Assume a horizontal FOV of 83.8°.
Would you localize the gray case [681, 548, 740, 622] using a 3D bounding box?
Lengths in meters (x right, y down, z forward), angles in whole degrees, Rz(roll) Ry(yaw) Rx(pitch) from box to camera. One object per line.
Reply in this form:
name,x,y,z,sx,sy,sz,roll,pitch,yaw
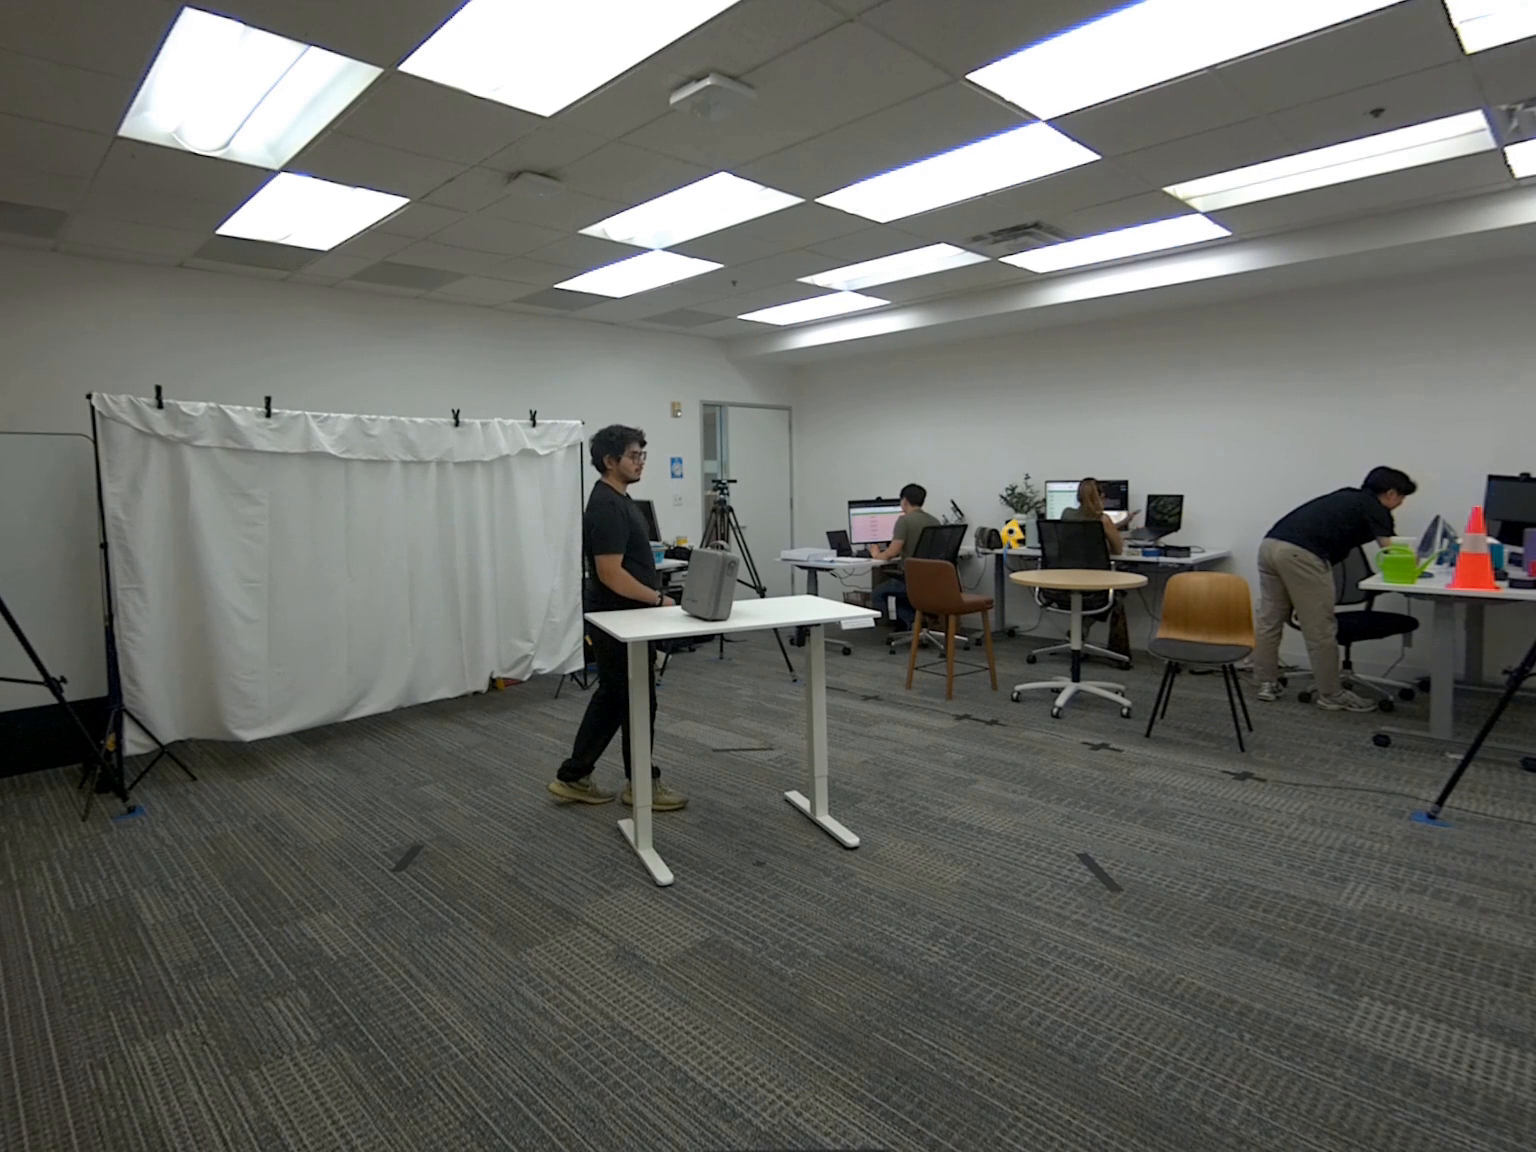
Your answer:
gray case,-0.214,0.024,3.217,0.101,0.261,0.263,11,-2,-27
